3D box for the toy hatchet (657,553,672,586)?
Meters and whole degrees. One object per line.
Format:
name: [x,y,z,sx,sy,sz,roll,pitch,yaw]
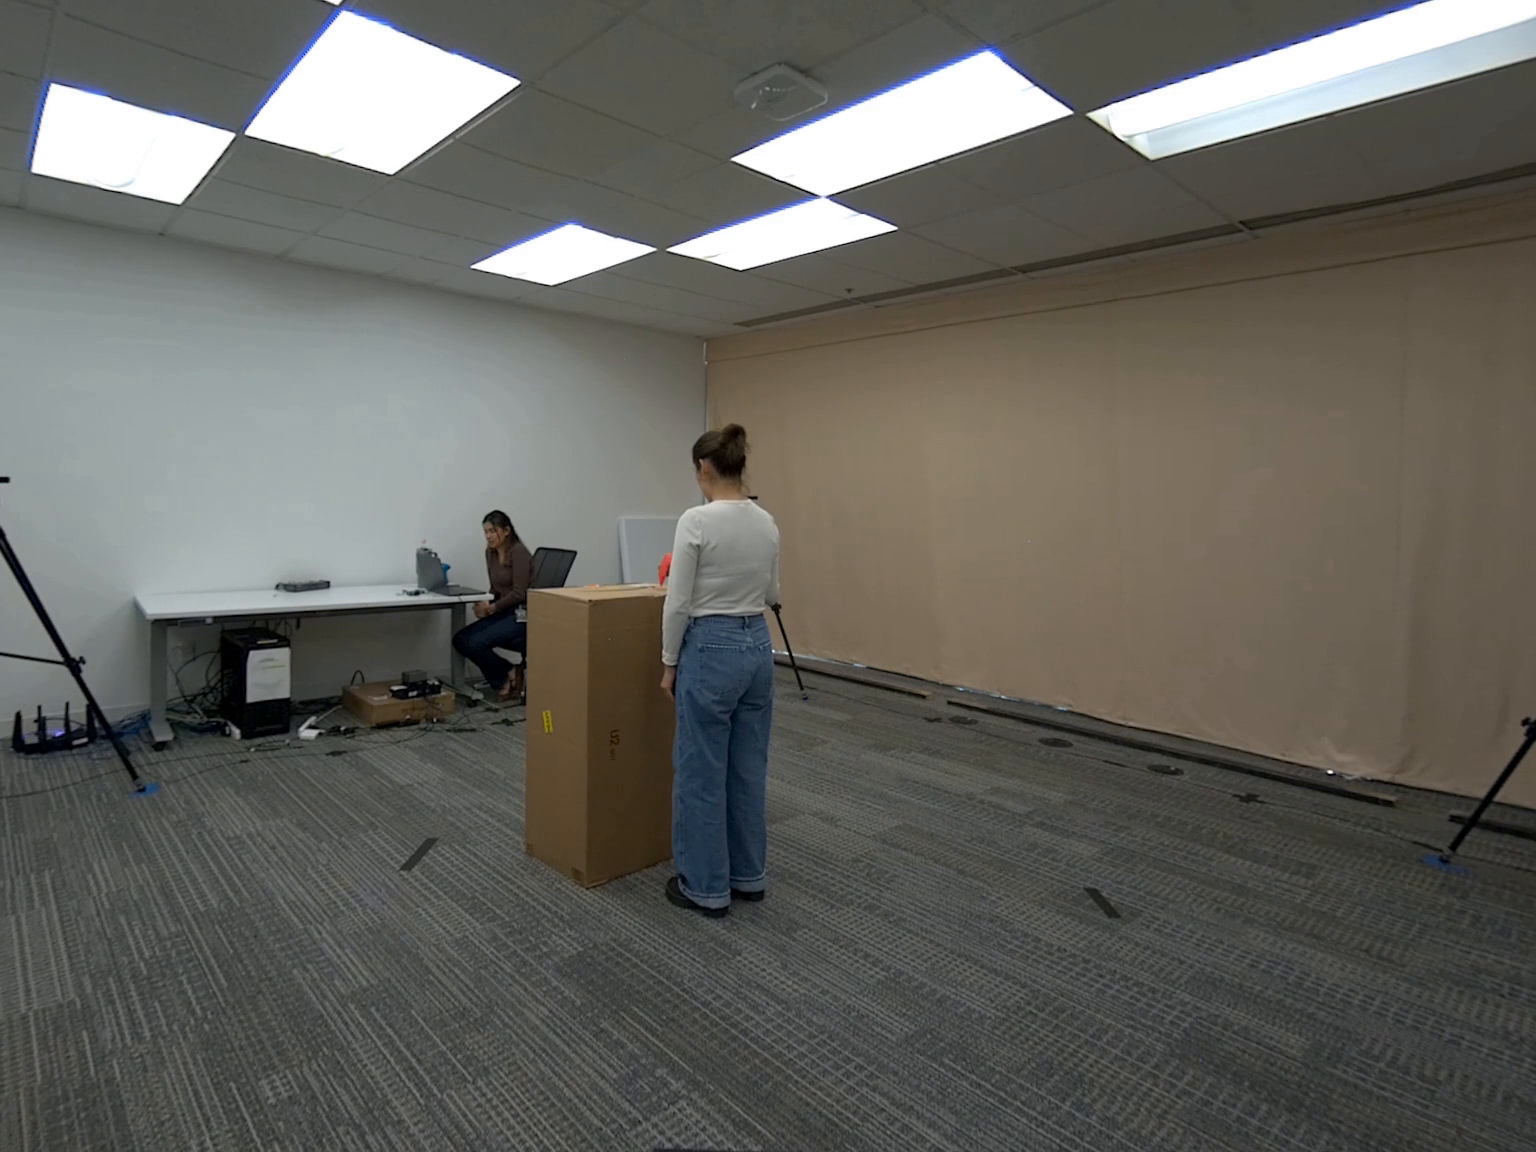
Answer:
toy hatchet: [-0.336,-0.028,3.266,0.276,0.131,0.029,0,-4,39]
